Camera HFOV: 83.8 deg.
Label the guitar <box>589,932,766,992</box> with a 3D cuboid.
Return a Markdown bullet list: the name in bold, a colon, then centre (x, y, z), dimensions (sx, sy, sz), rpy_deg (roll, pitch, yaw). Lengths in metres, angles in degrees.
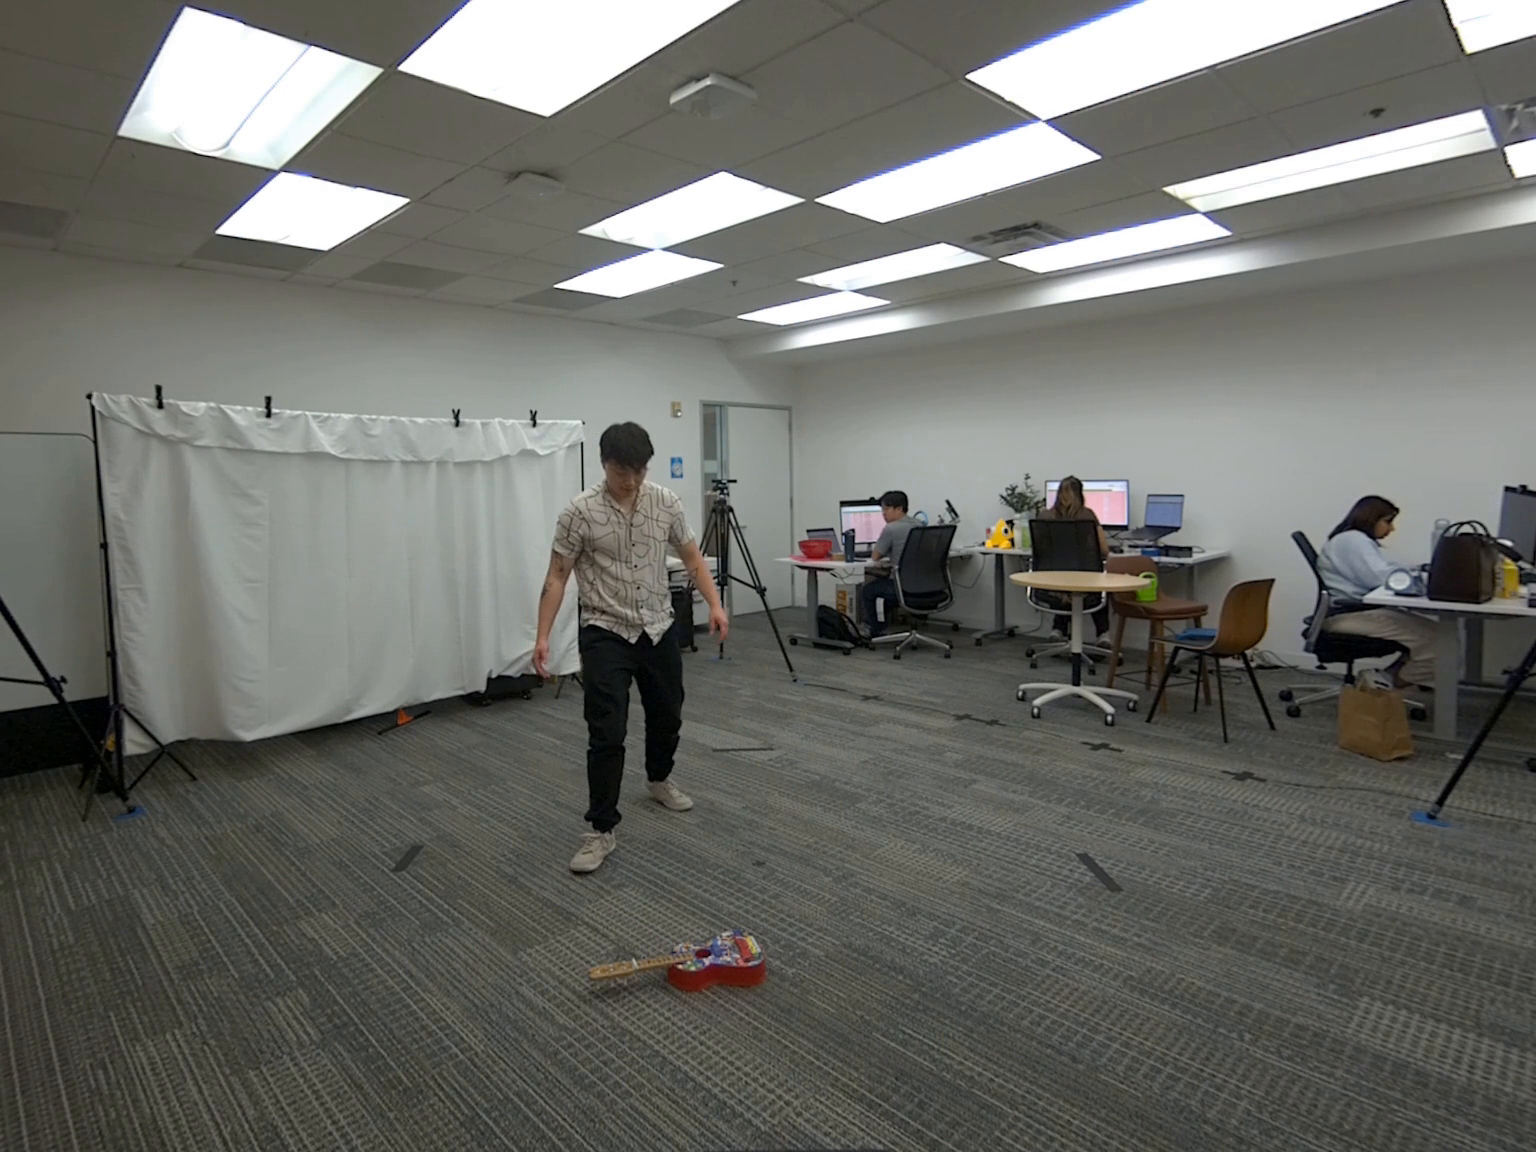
- **guitar**: centre (-0.256, 1.097, 2.429), dimensions (0.495, 0.070, 0.195), rpy_deg (-2, 7, -7)
